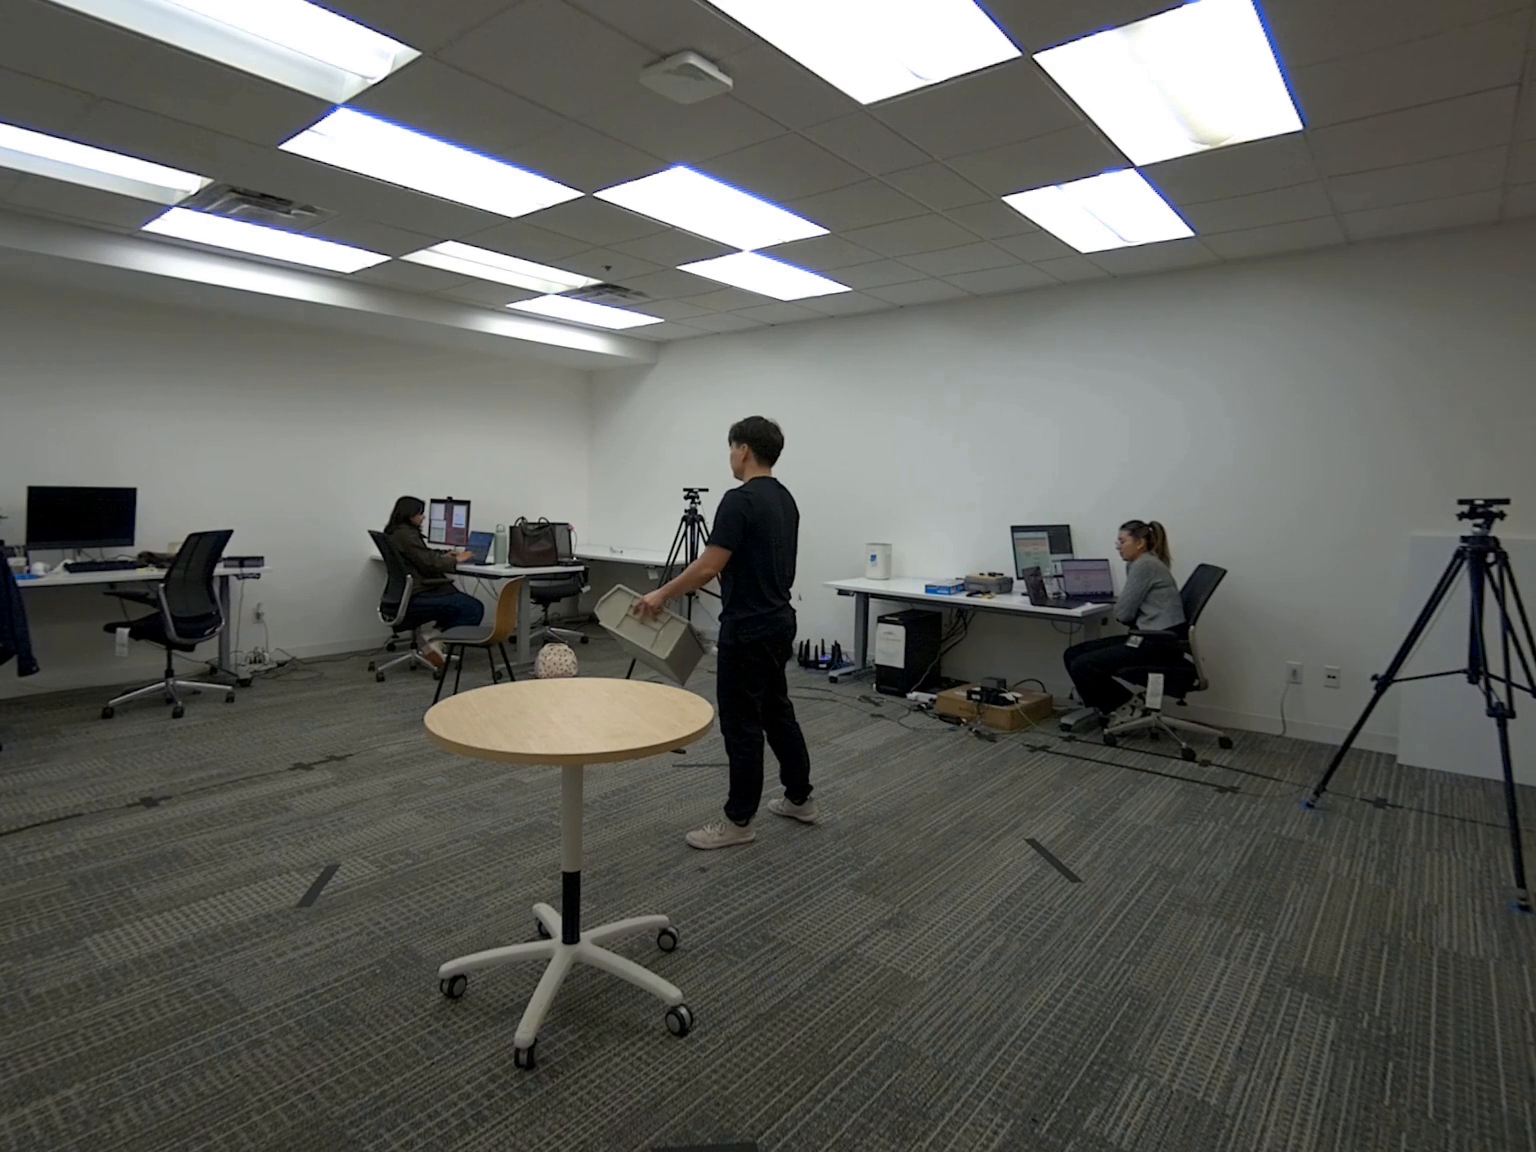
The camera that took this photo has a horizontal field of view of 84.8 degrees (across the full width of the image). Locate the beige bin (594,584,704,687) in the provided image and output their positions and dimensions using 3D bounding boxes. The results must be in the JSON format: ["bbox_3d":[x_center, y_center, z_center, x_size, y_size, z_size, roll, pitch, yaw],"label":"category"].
[{"bbox_3d":[-0.504,0.237,3.534,0.387,0.190,0.410,27,-17,17],"label":"beige bin"}]
